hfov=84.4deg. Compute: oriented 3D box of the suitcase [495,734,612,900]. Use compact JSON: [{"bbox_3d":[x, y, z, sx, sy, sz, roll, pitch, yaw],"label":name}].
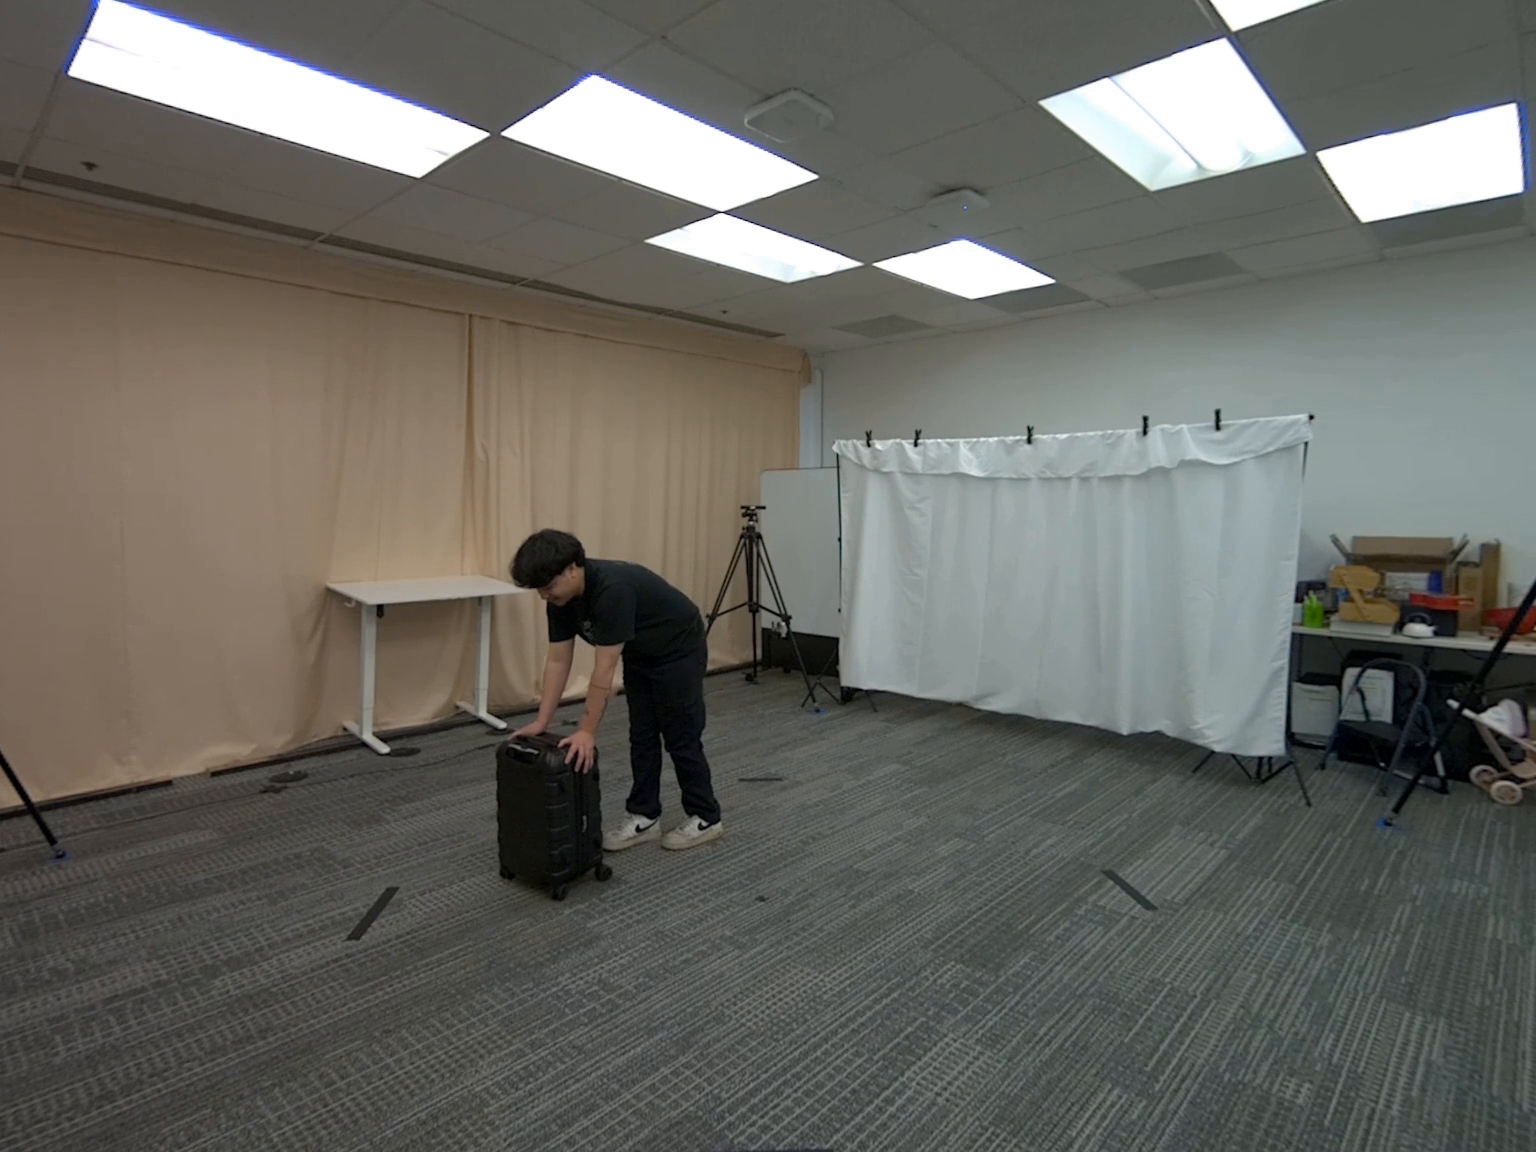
[{"bbox_3d":[-0.817,0.864,3.134,0.387,0.547,0.241,3,6,37],"label":"suitcase"}]
